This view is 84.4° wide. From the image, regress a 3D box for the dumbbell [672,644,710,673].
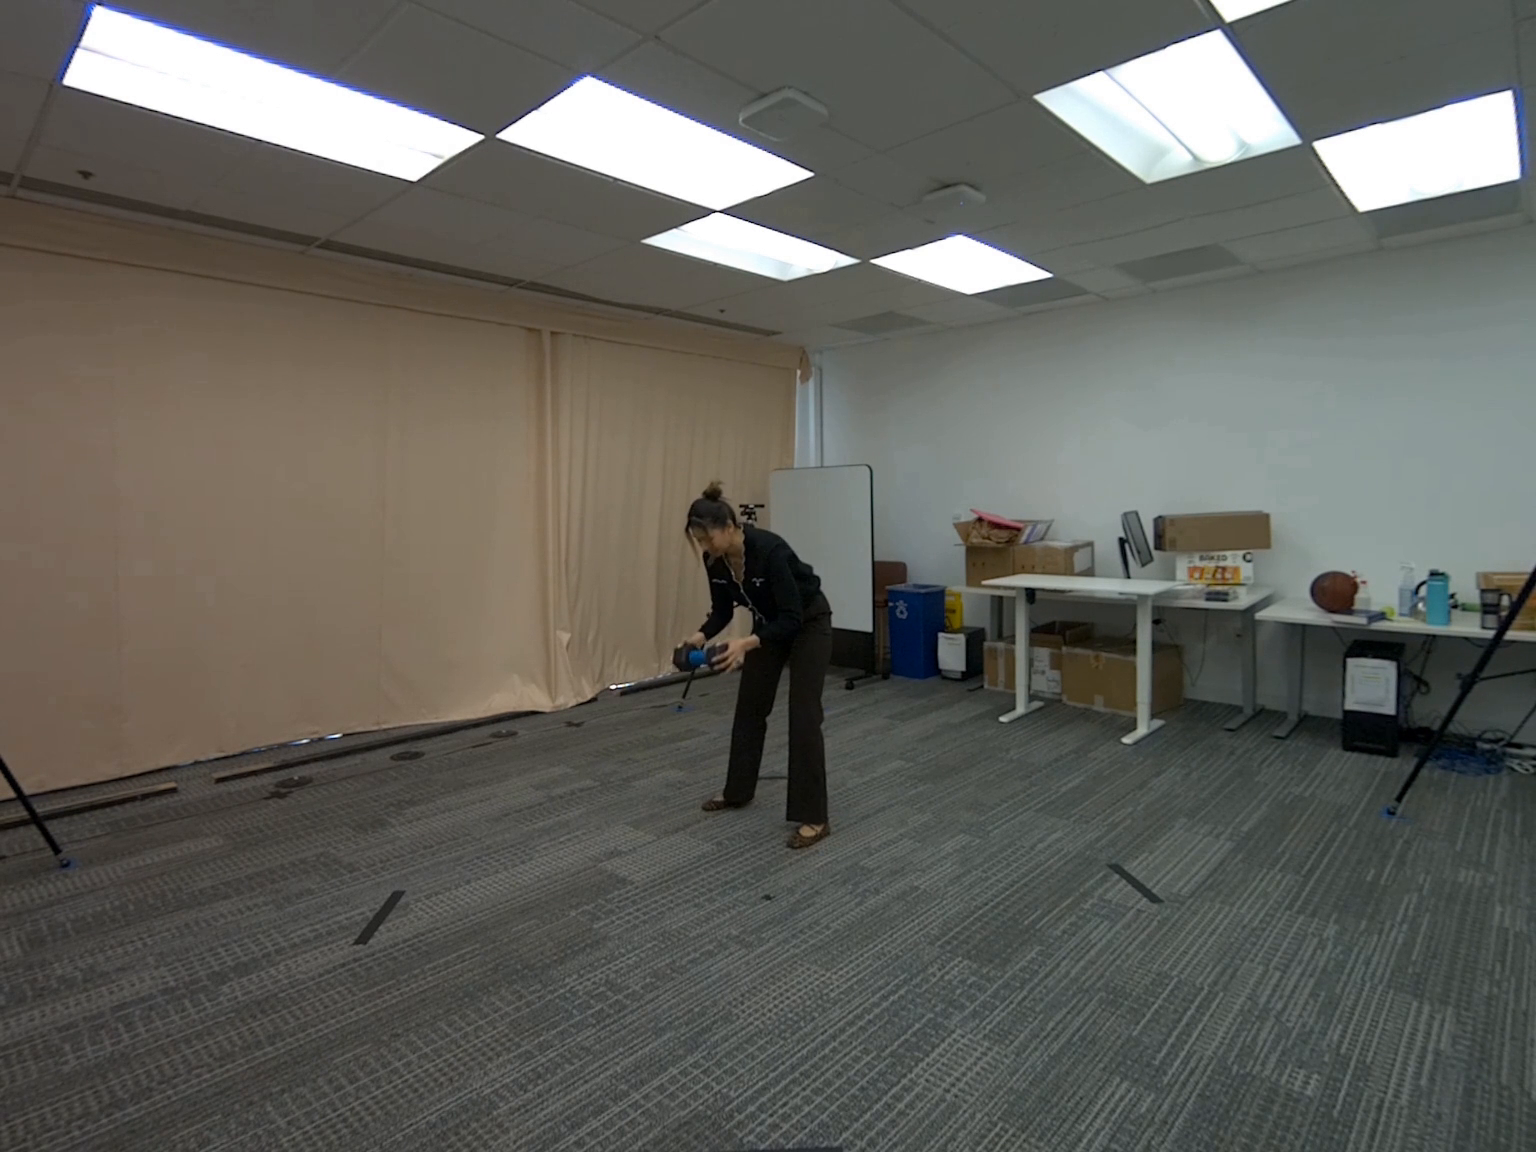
[{"bbox_3d":[-0.253,0.335,3.465,0.120,0.108,0.302,-21,10,-41],"label":"dumbbell"}]
